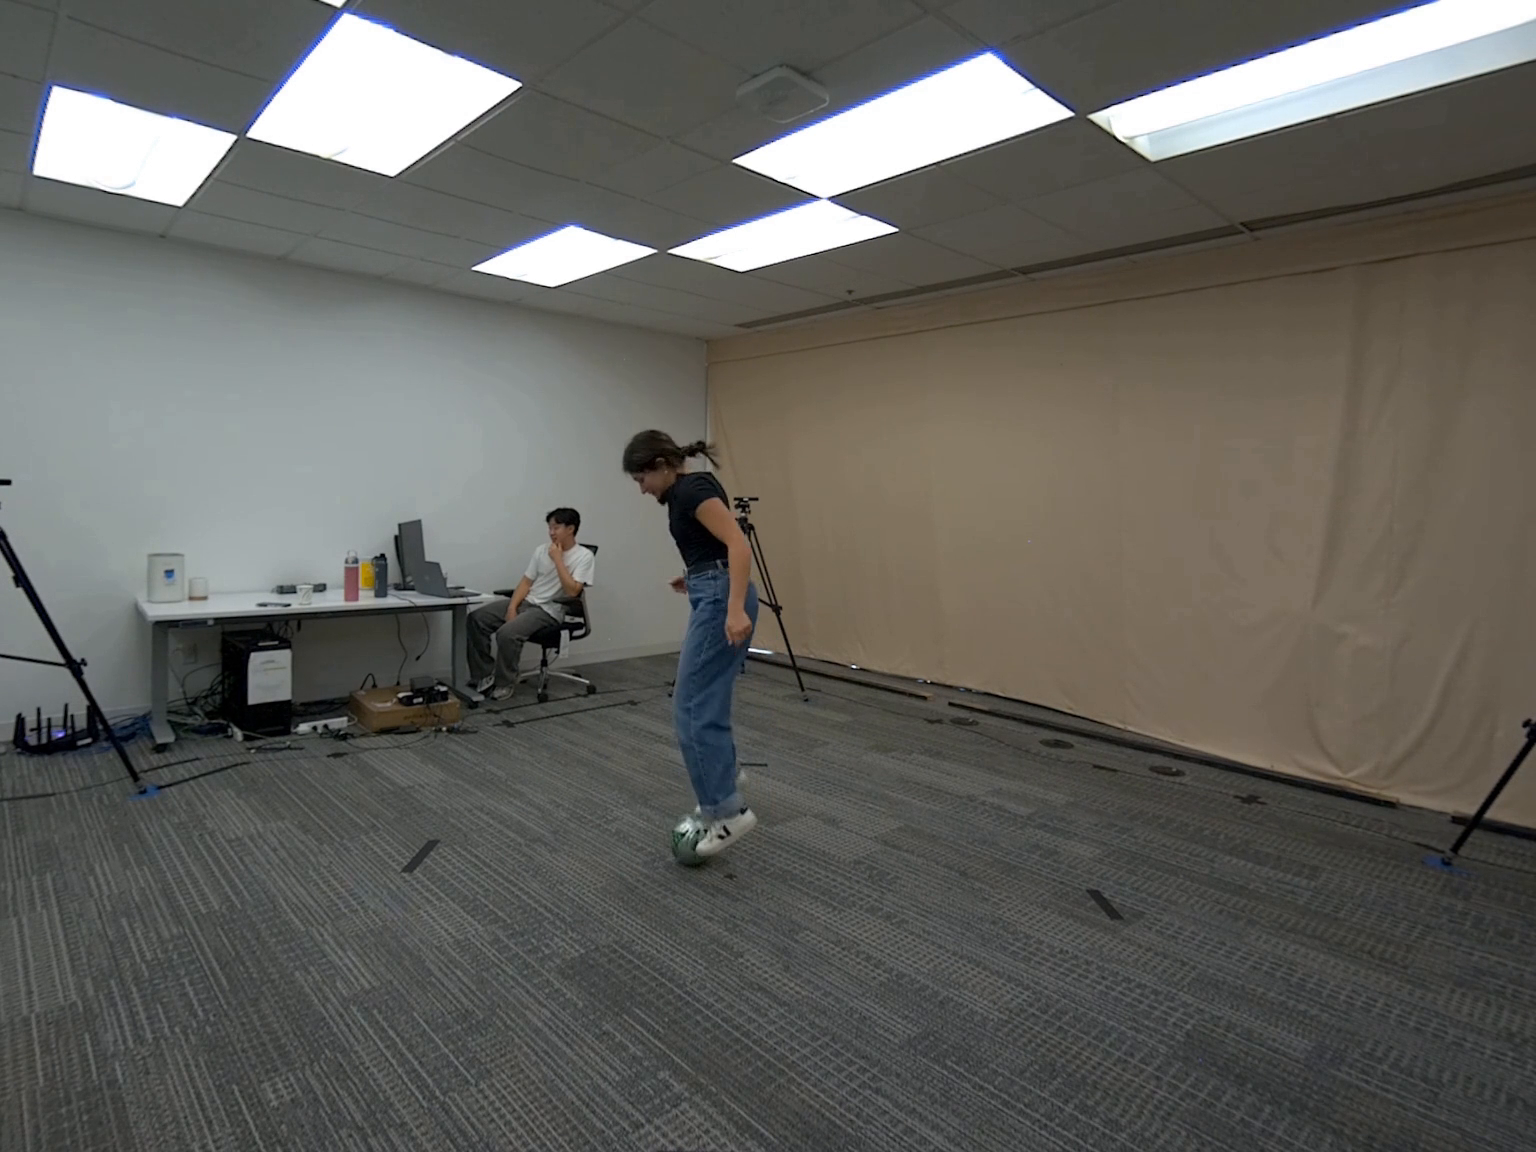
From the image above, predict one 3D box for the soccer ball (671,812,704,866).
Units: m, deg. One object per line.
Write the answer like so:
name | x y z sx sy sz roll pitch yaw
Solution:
soccer ball | -0.297 1.008 3.195 0.187 0.187 0.188 1 4 -1
